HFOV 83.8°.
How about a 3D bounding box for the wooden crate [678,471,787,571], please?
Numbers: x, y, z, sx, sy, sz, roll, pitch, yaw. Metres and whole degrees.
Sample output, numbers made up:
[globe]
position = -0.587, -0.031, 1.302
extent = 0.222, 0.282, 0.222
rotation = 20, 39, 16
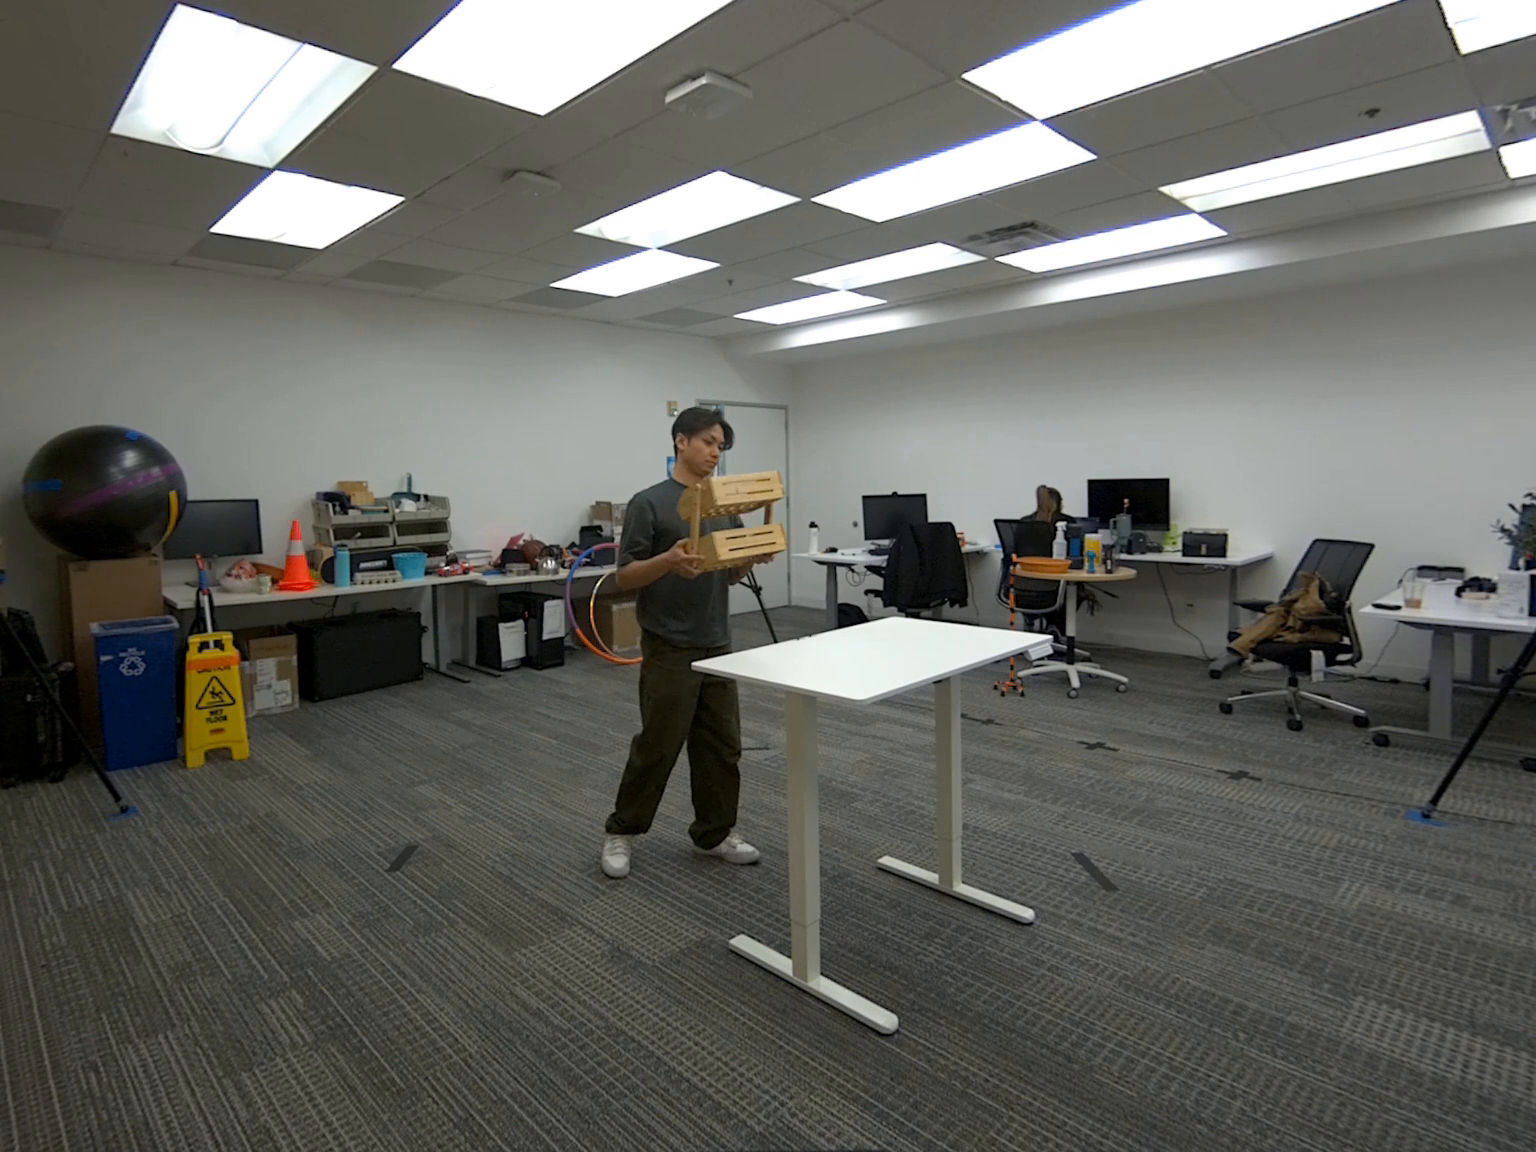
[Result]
[wooden crate]
position = -0.142, -0.177, 2.869
extent = 0.317, 0.275, 0.307
rotation = -10, -7, -39
